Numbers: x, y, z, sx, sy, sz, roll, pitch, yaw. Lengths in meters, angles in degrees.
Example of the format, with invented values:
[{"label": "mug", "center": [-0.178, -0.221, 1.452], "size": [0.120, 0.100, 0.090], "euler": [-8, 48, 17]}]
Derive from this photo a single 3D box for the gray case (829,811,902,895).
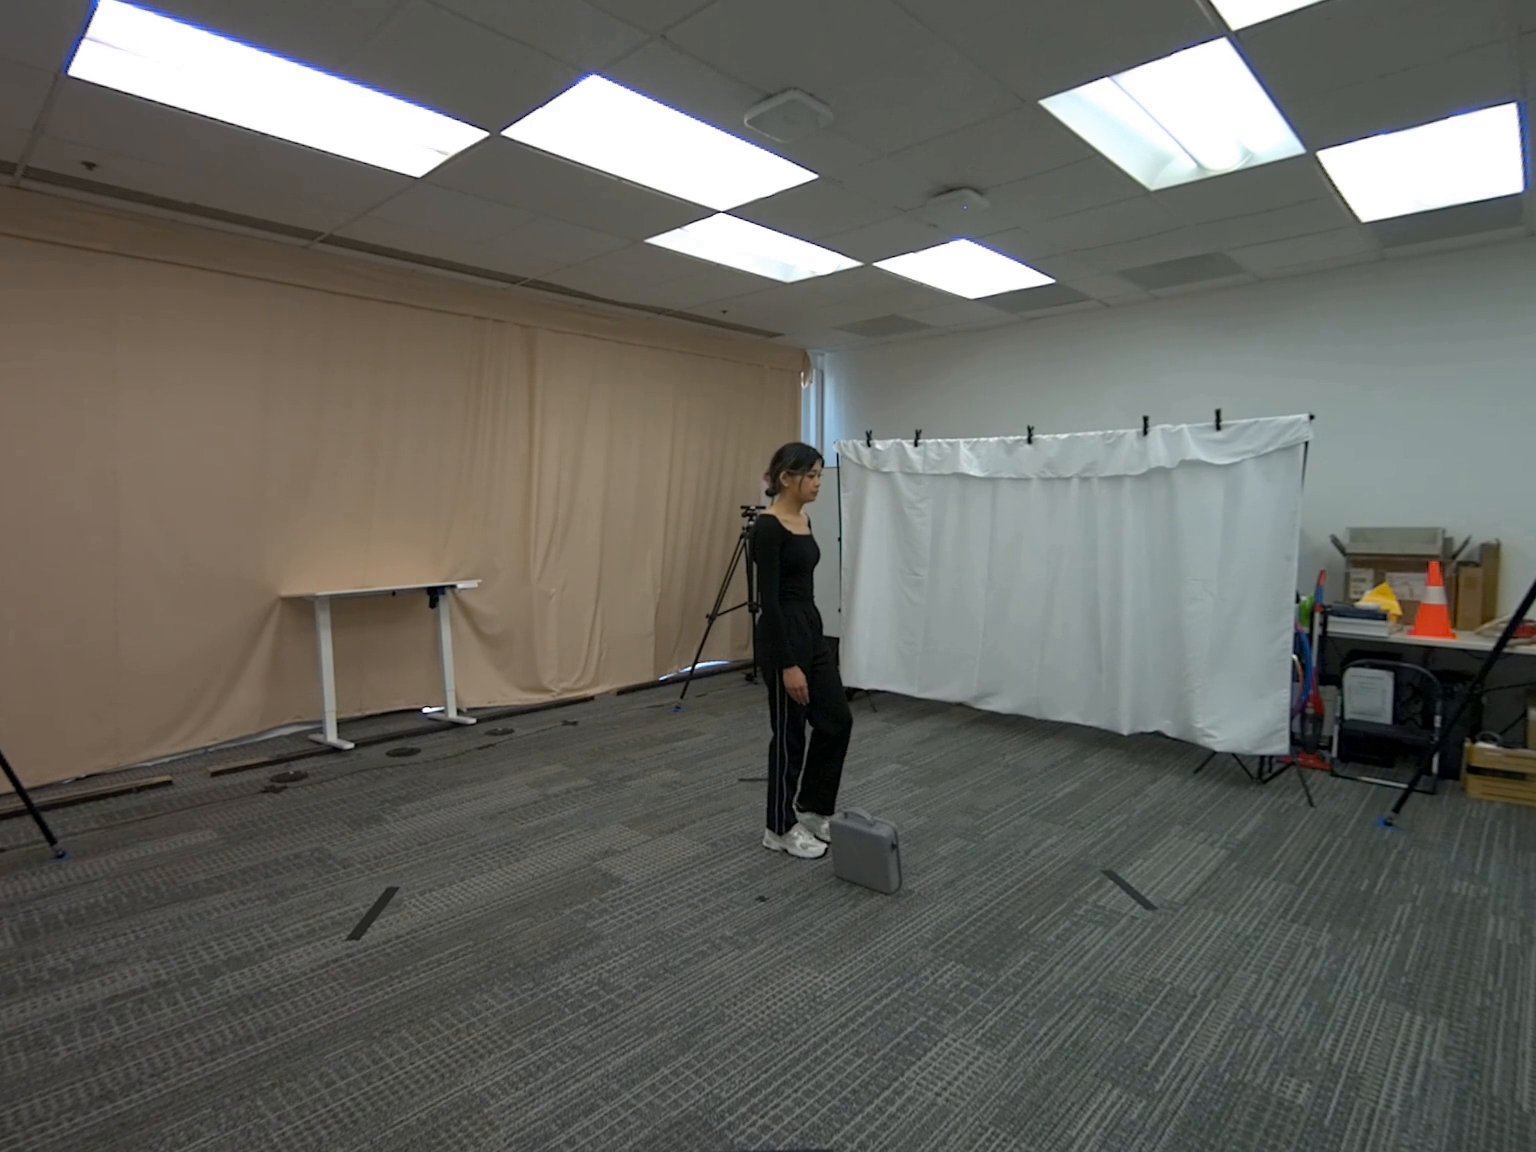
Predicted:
[{"label": "gray case", "center": [0.362, 0.999, 3.078], "size": [0.265, 0.258, 0.102], "euler": [4, 15, 41]}]
